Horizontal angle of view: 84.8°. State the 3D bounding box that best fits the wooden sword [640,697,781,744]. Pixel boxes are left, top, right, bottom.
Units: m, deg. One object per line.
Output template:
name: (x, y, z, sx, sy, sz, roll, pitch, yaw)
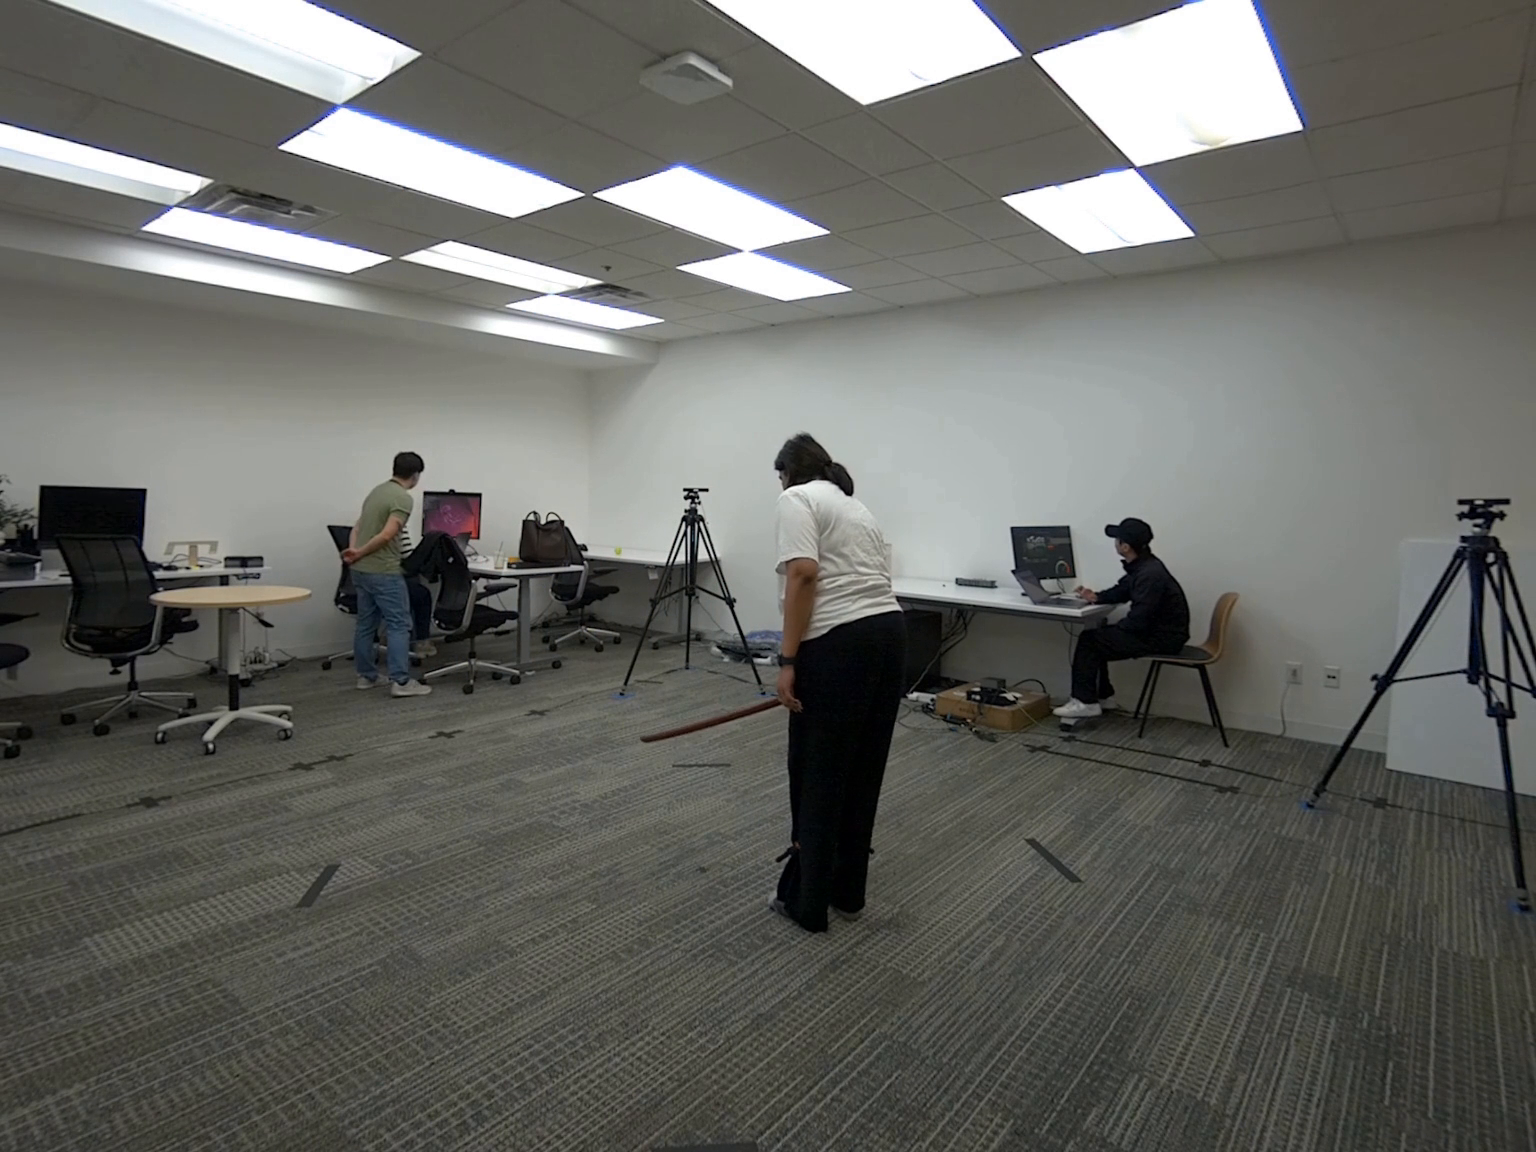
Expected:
wooden sword: (-0.161, 0.532, 3.315, 1.041, 0.023, 0.052, -22, 32, 31)
